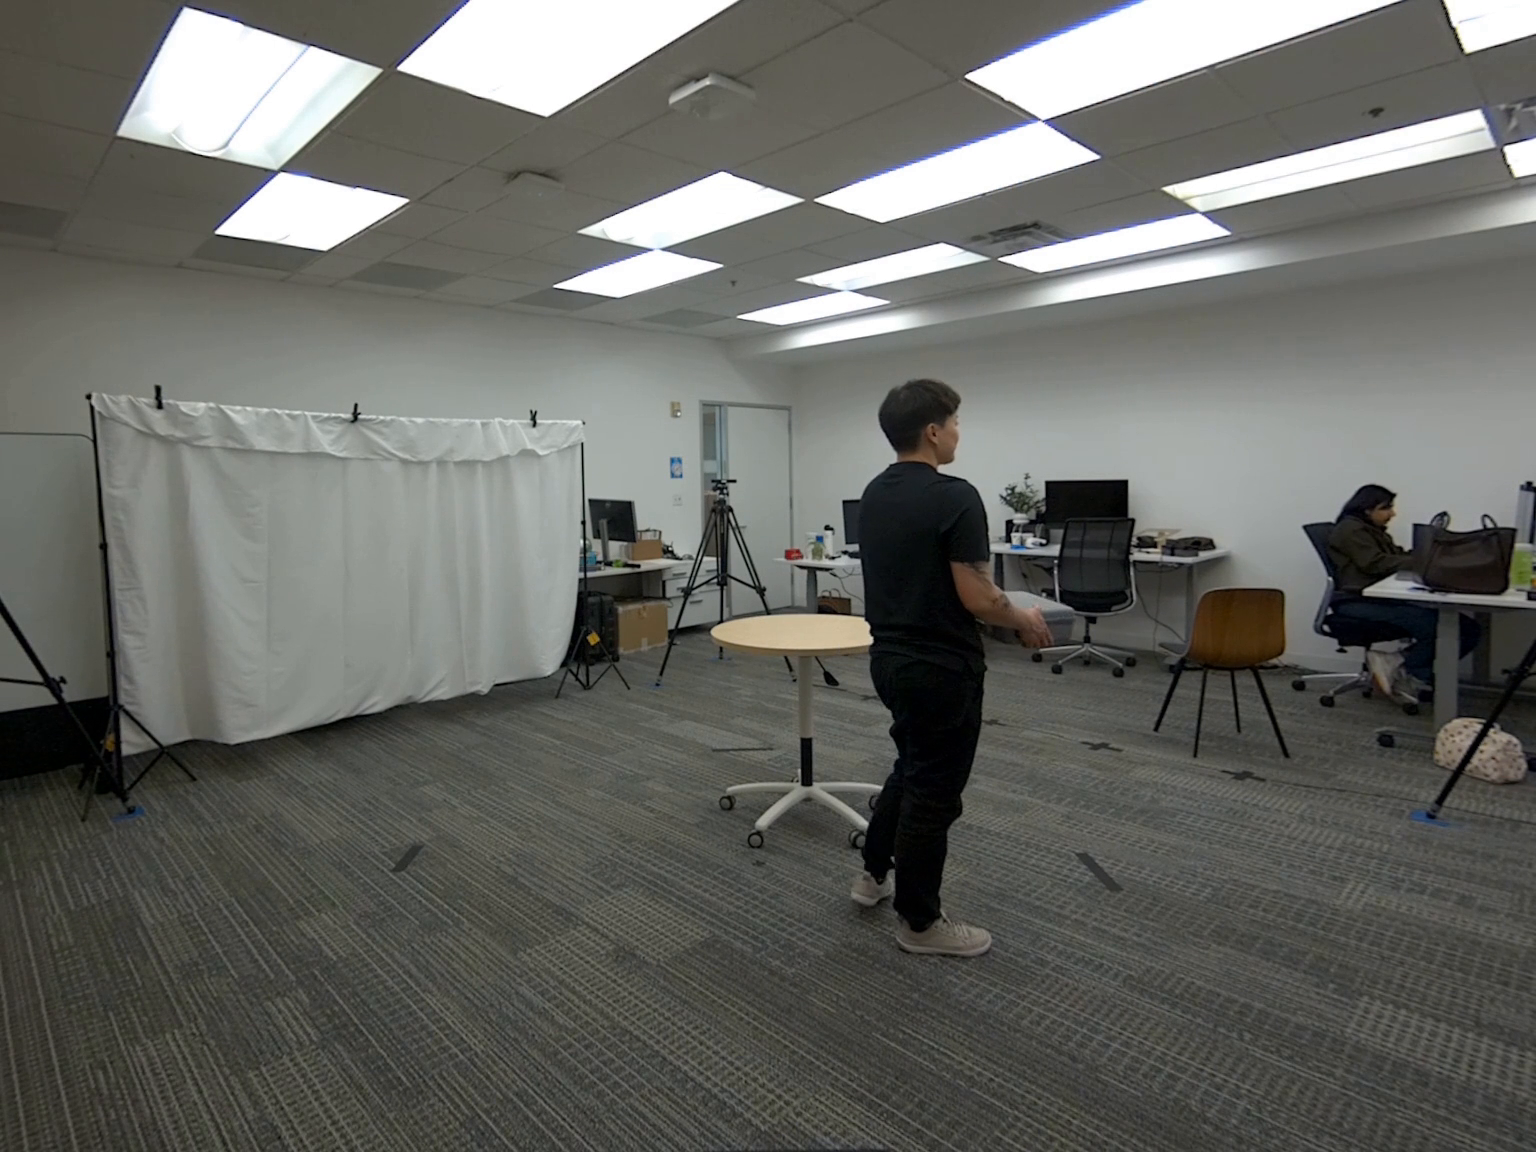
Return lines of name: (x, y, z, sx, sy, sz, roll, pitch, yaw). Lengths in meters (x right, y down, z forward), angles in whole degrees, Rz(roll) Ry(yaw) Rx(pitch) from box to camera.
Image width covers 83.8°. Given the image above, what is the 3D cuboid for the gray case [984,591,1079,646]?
gray case: (0.753, 0.128, 2.608, 0.255, 0.103, 0.264, -2, 14, -23)
